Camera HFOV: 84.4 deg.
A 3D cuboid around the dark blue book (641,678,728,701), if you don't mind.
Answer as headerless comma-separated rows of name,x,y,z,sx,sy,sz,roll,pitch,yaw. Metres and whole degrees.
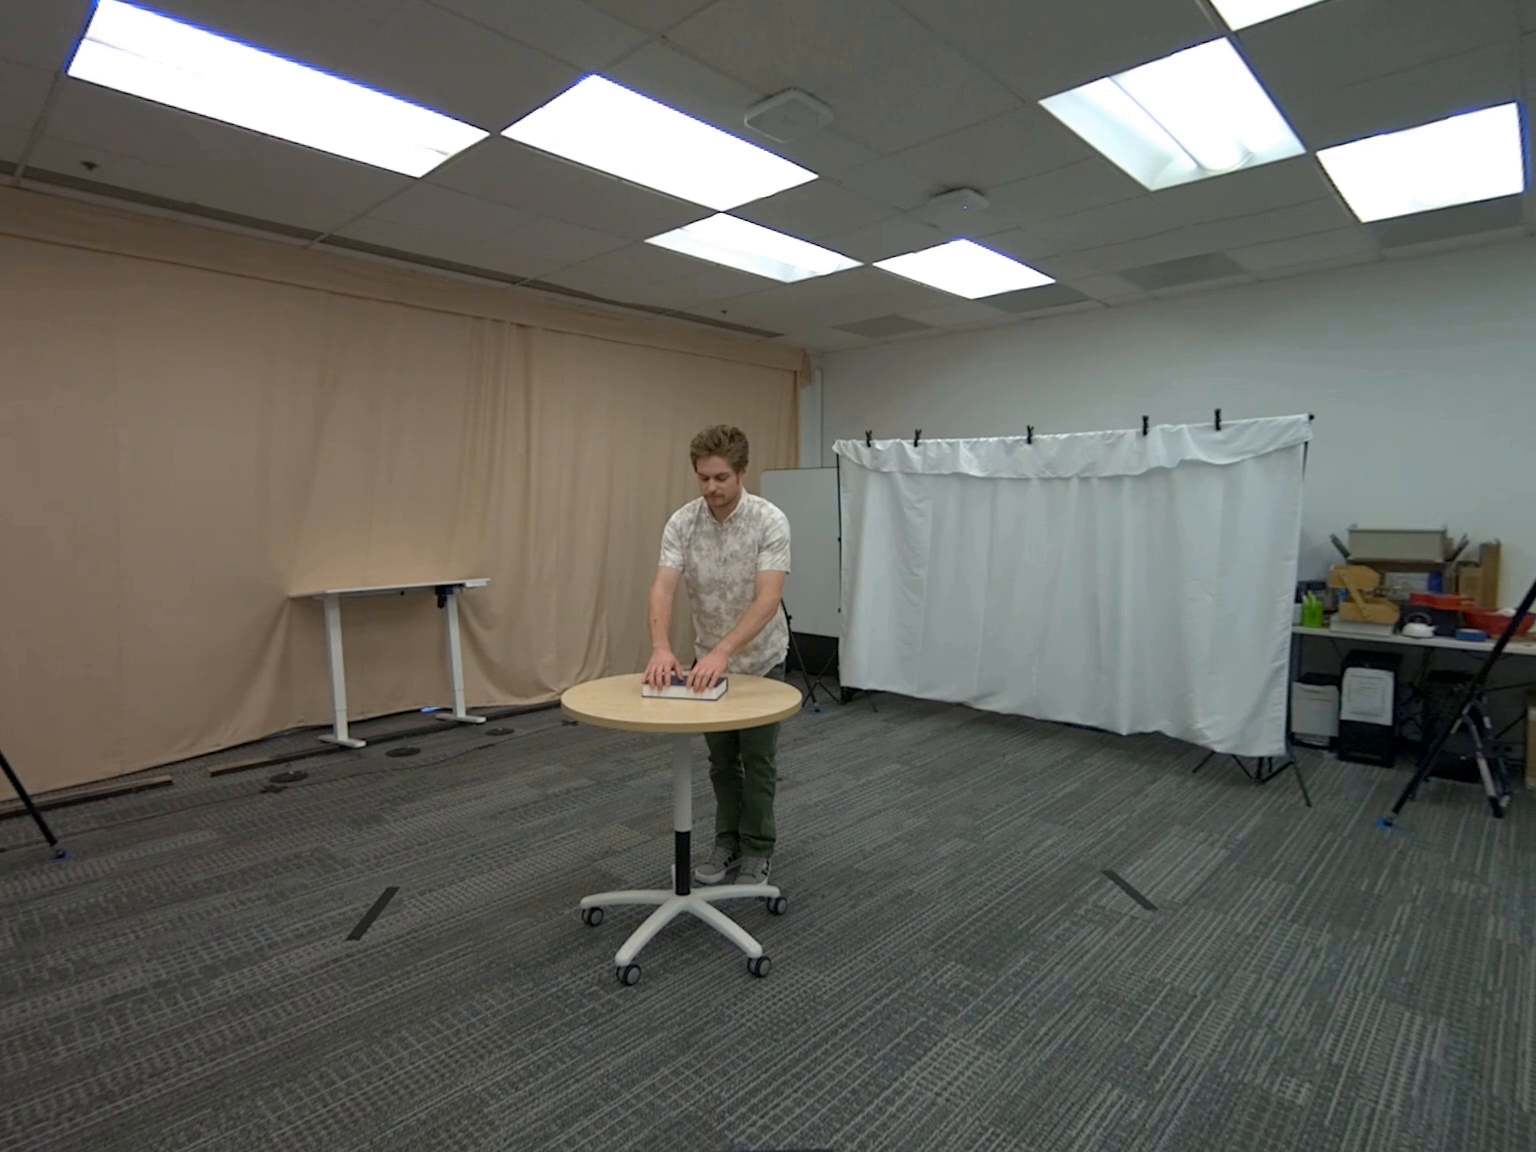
dark blue book,-0.267,0.356,2.701,0.248,0.045,0.162,1,4,11
